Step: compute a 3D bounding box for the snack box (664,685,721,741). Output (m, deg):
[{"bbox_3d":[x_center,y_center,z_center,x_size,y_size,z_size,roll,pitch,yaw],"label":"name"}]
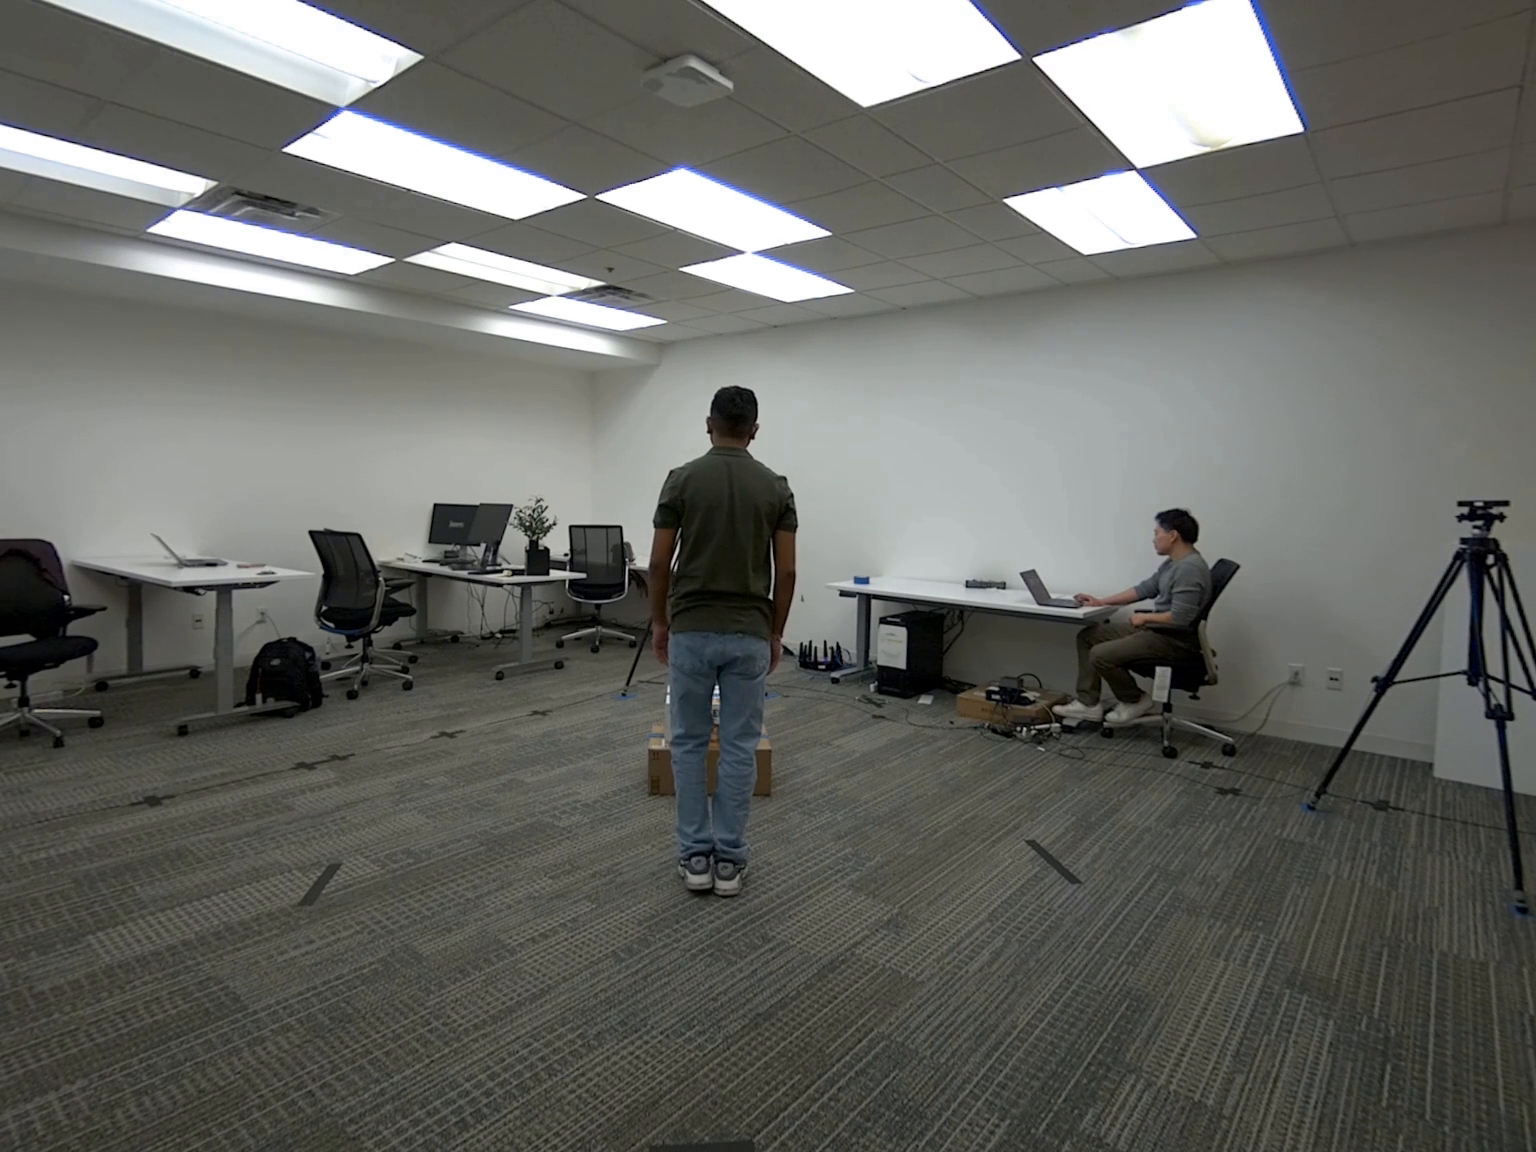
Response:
[{"bbox_3d":[-0.290,0.658,4.062,0.404,0.205,0.343,1,6,-3],"label":"snack box"}]
